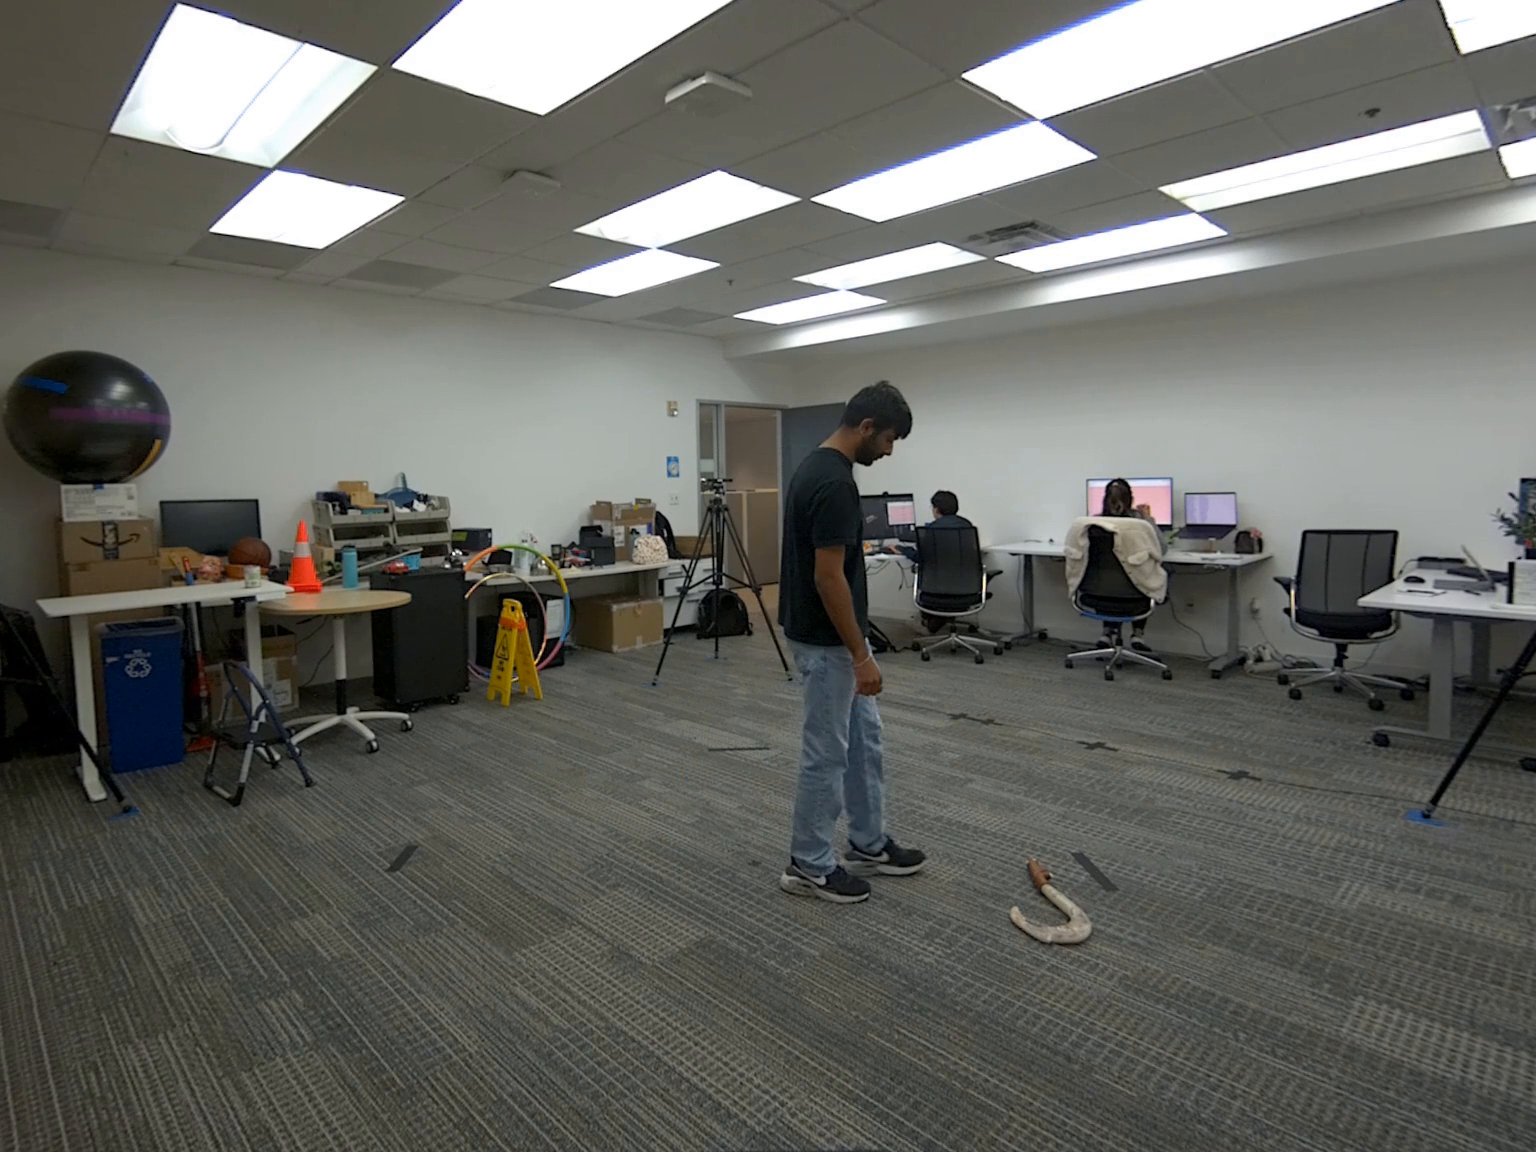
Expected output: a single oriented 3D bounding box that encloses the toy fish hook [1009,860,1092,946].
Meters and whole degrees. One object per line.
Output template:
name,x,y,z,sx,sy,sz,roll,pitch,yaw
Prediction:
toy fish hook,0.874,1.041,2.772,0.225,0.048,0.507,0,6,1
